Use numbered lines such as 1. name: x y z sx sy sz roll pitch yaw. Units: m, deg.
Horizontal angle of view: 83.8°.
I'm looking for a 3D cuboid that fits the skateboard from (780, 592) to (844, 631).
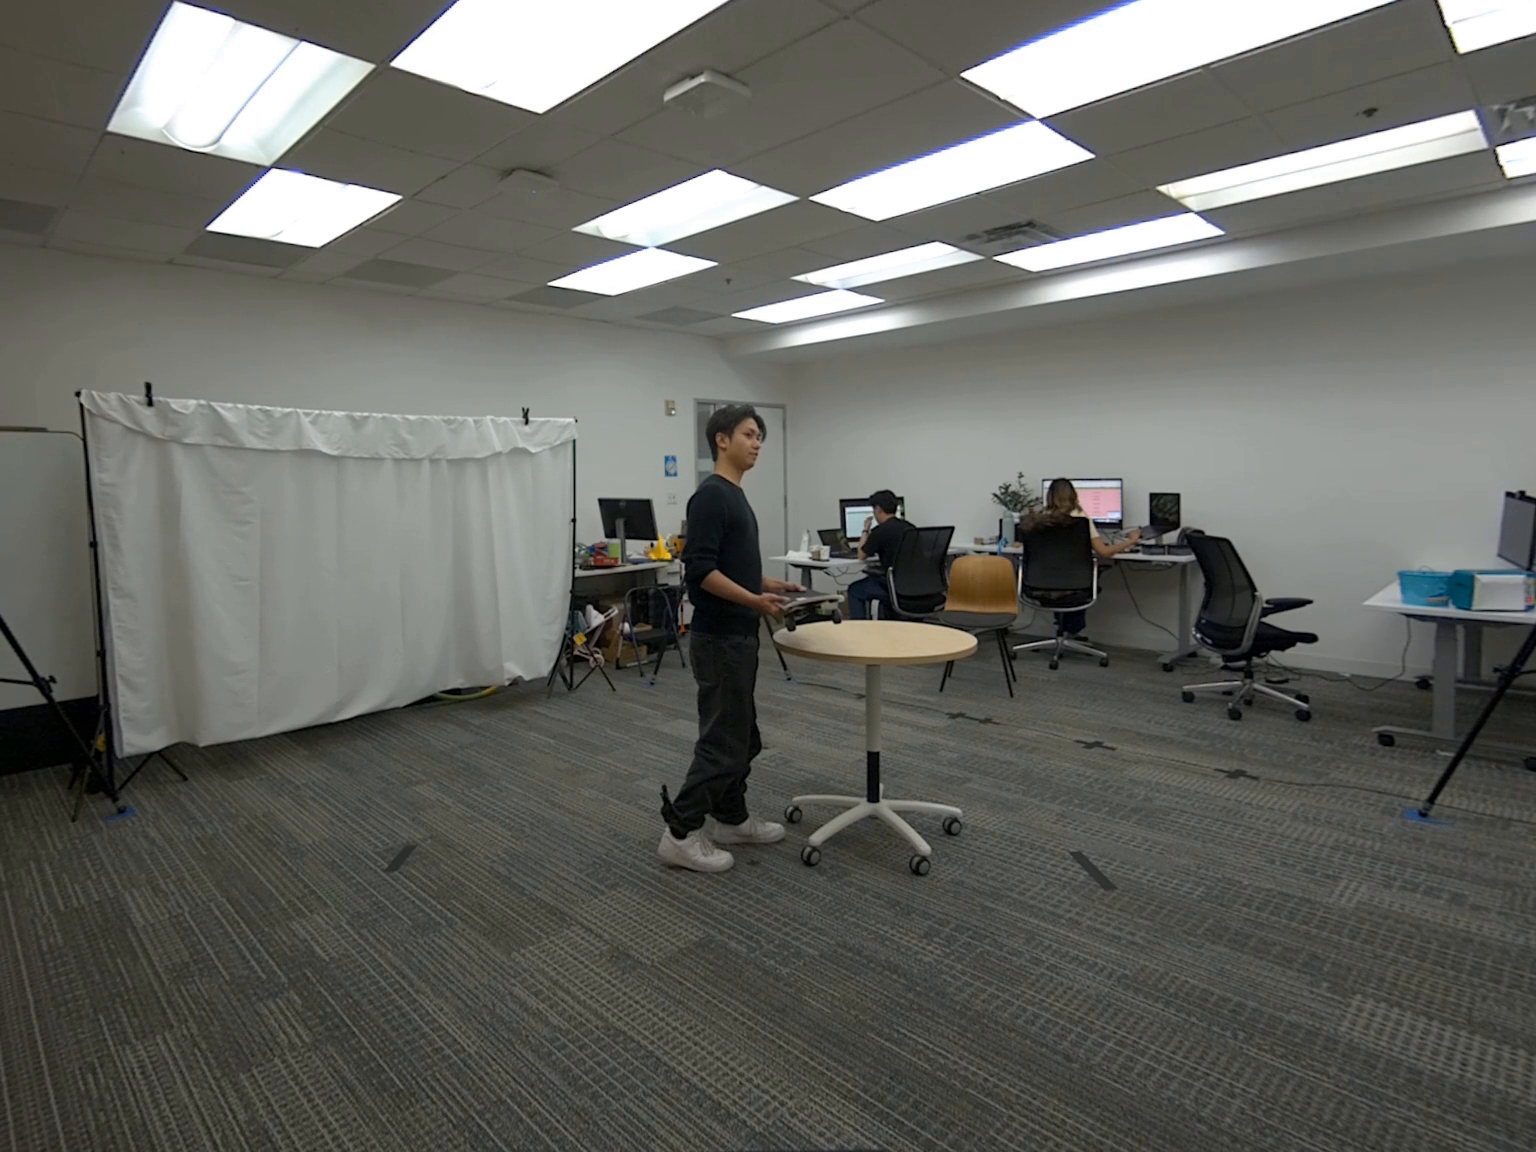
1. skateboard: 0.132 0.120 2.993 0.193 0.110 0.787 -9 1 -5
